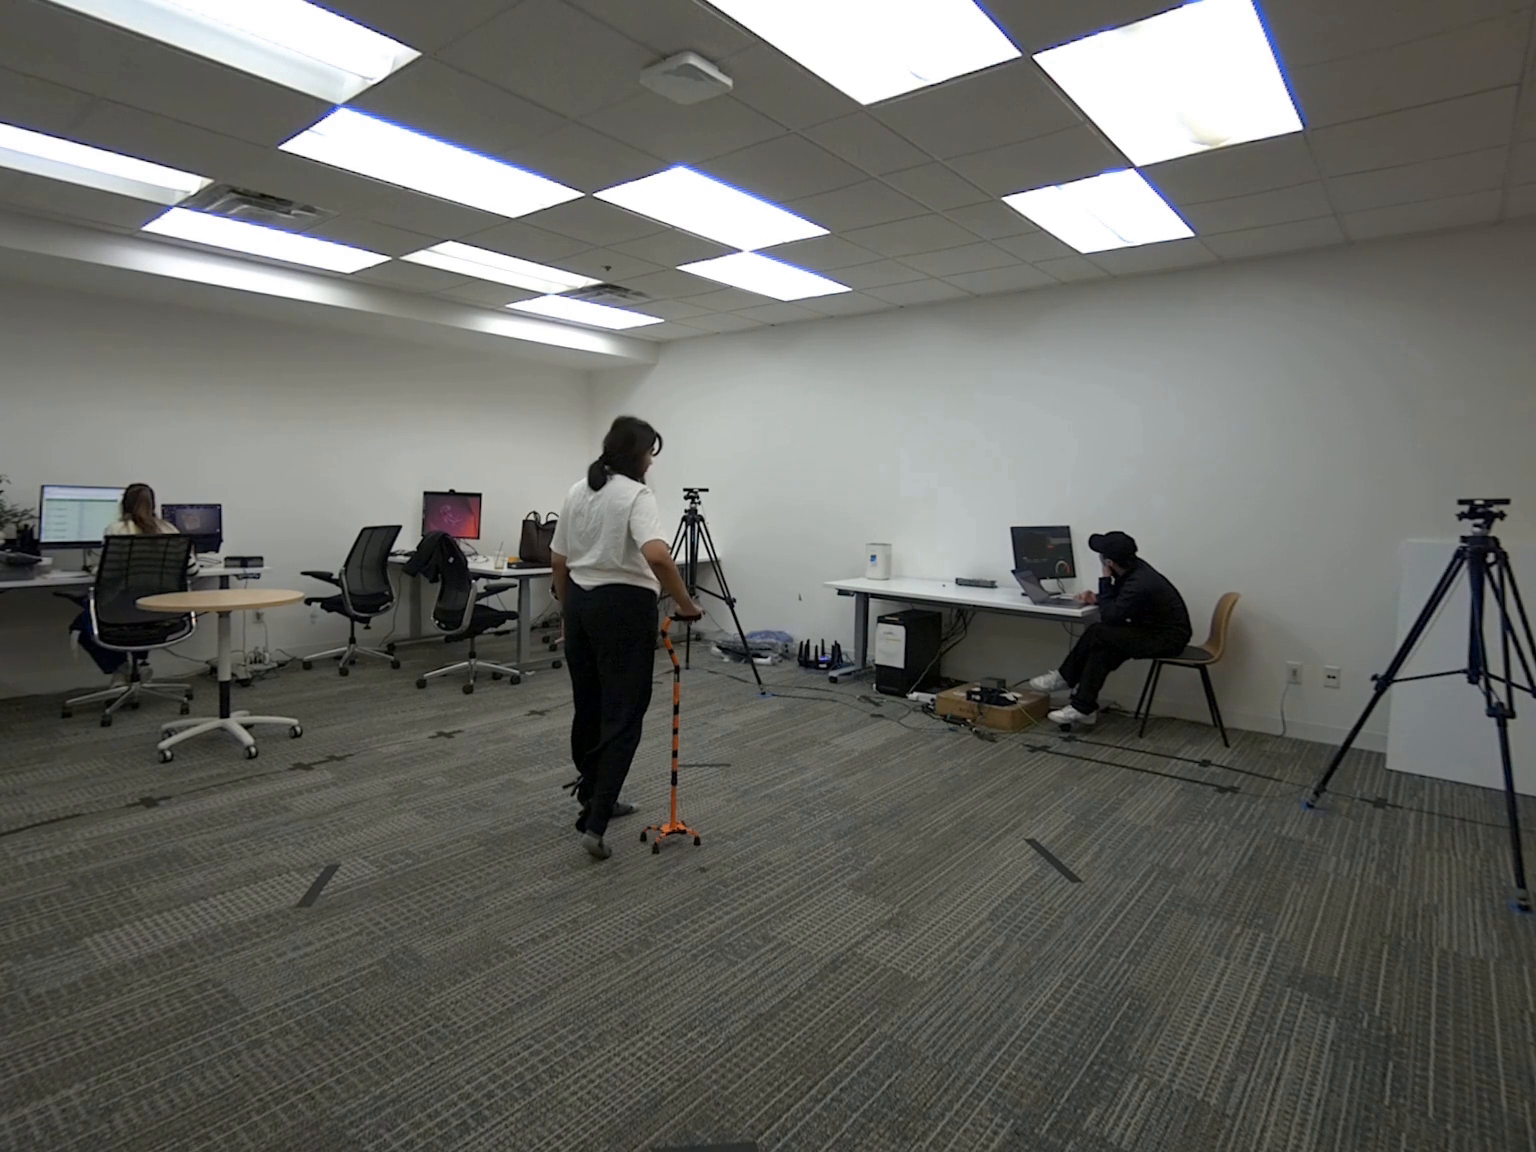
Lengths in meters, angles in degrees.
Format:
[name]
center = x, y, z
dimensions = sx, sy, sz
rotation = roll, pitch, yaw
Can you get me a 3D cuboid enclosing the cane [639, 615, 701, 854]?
[cane]
center = -0.364, 0.595, 3.318
dimensions = 0.200, 0.905, 0.156
rotation = 2, 3, -32
